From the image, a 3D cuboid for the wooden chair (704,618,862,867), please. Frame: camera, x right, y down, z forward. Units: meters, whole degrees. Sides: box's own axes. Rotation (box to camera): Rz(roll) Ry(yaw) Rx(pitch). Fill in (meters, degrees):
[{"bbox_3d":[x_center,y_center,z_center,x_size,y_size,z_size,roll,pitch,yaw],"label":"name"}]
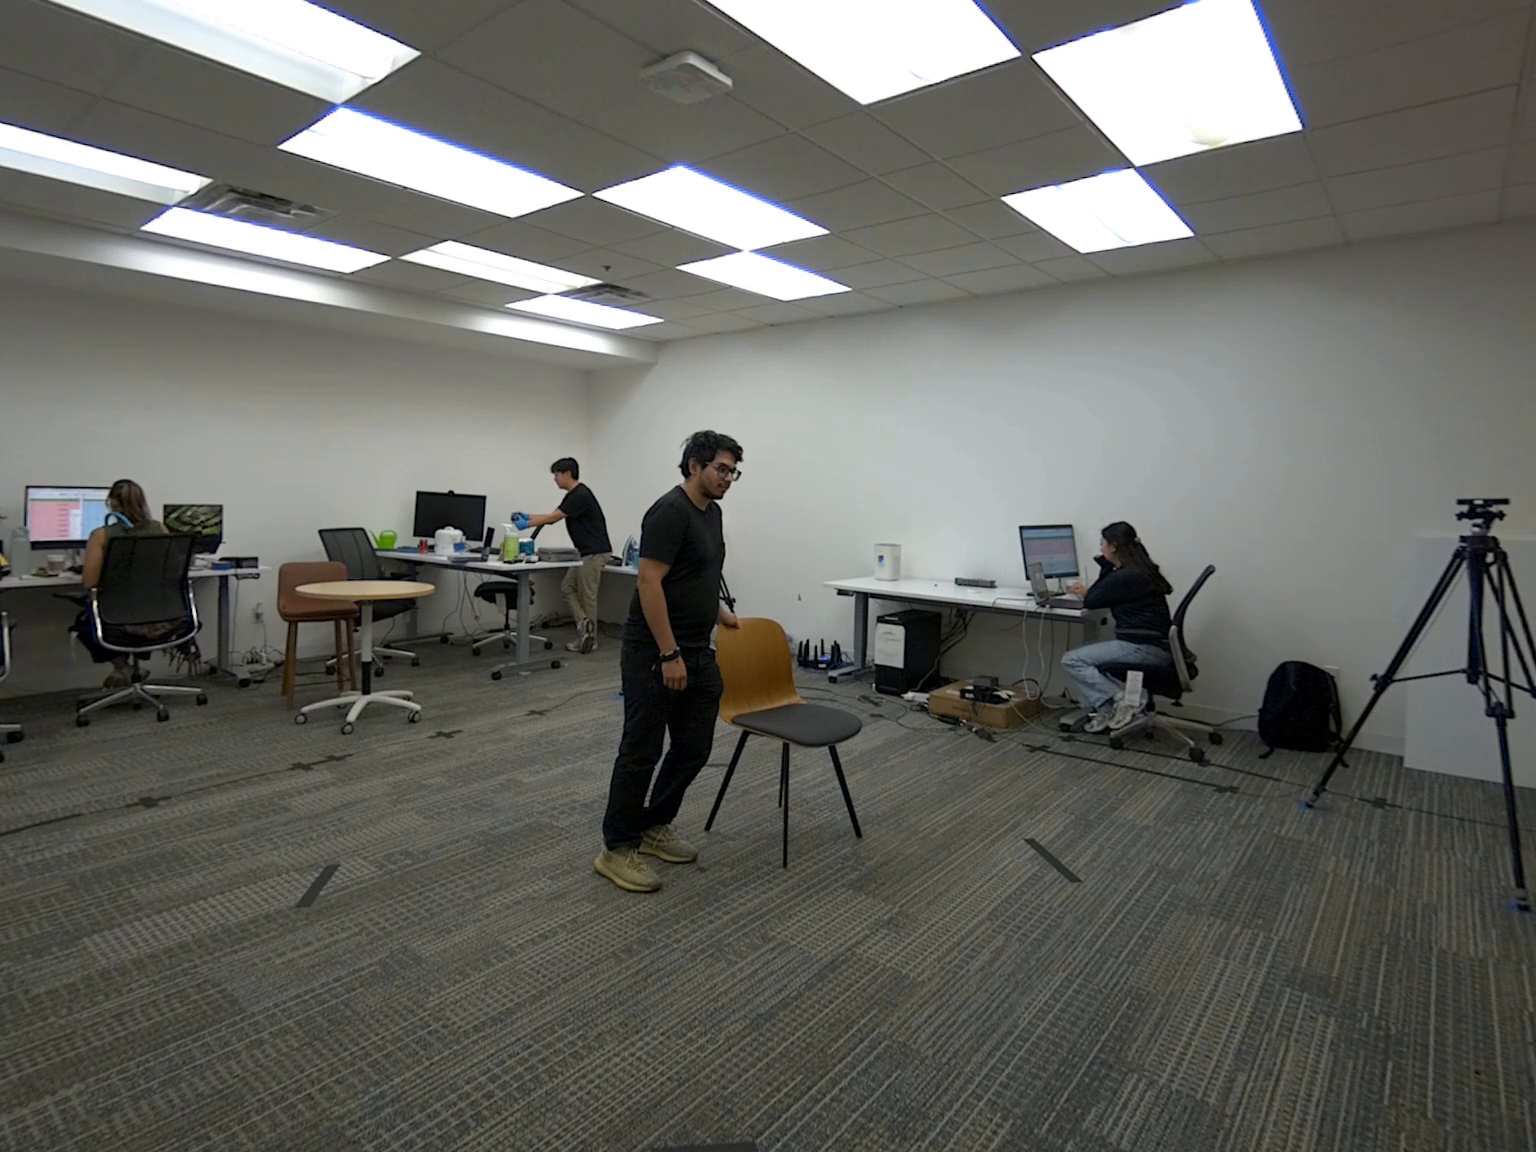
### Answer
[{"bbox_3d":[0.069,0.619,3.414,0.463,0.877,0.539,-3,1,-44],"label":"wooden chair"}]
